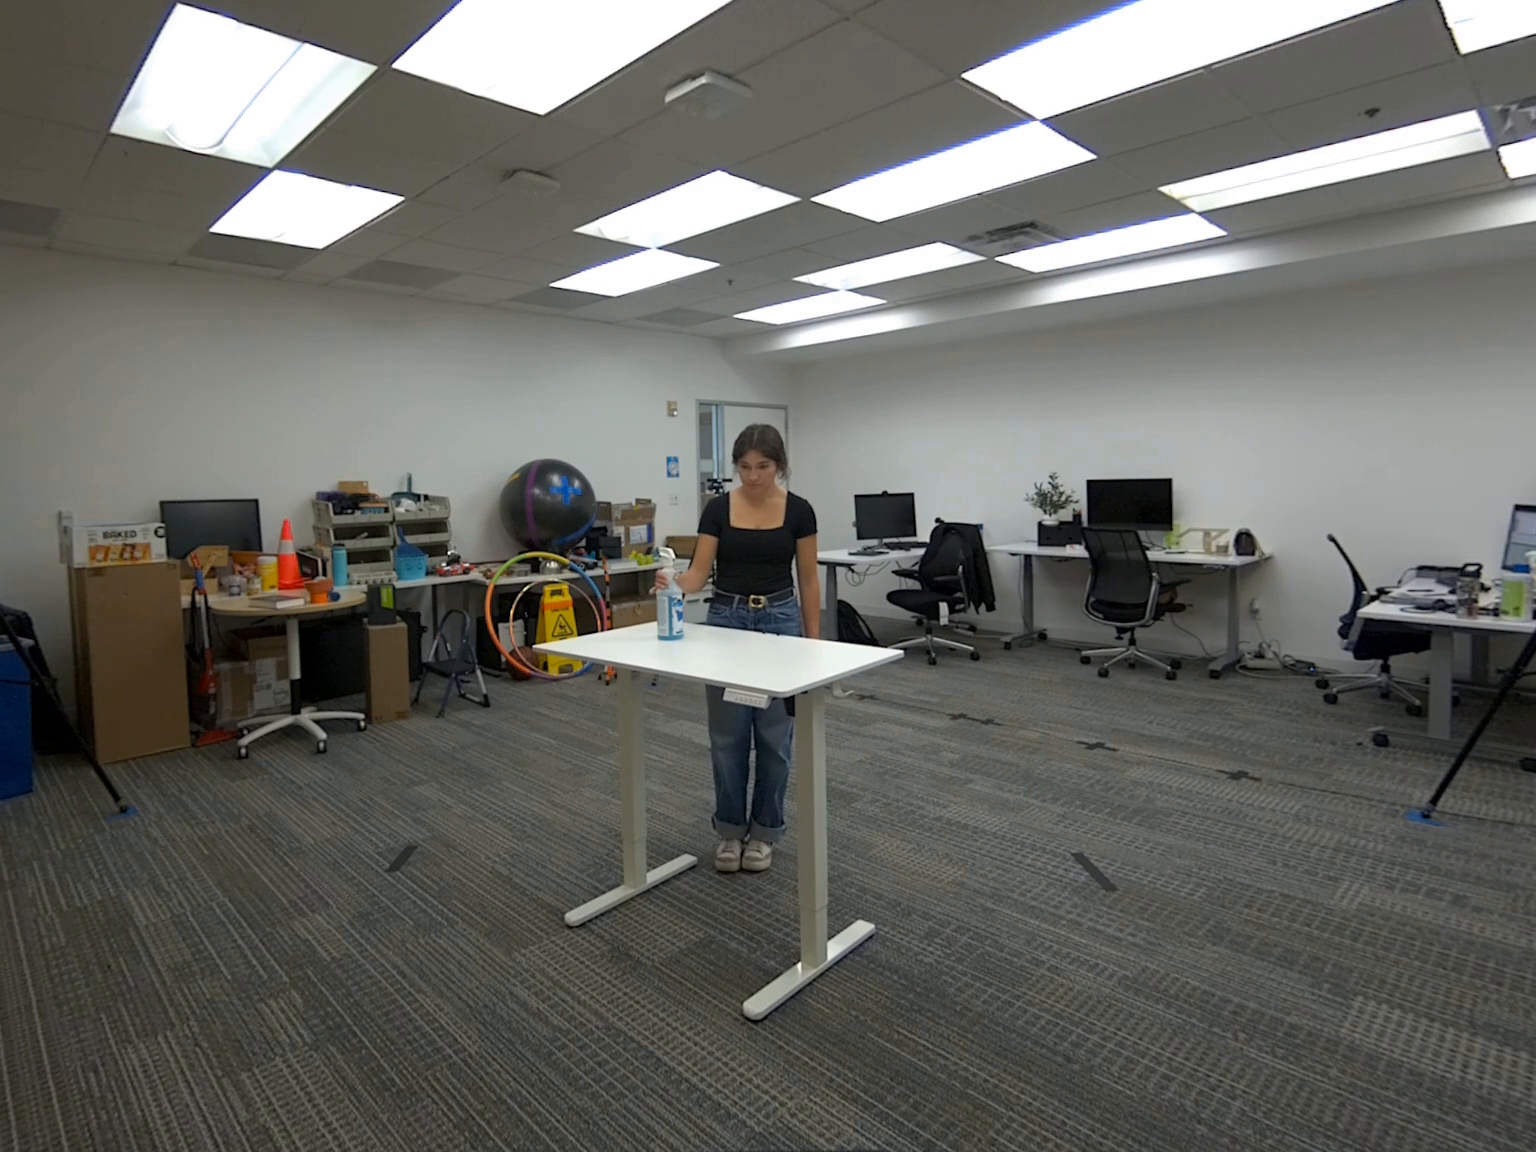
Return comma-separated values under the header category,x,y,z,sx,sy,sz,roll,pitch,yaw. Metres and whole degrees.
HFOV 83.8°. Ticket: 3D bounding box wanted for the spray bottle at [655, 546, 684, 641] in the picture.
category,x,y,z,sx,sy,sz,roll,pitch,yaw
spray bottle,-0.320,0.059,2.791,0.086,0.297,0.091,-2,2,-9
